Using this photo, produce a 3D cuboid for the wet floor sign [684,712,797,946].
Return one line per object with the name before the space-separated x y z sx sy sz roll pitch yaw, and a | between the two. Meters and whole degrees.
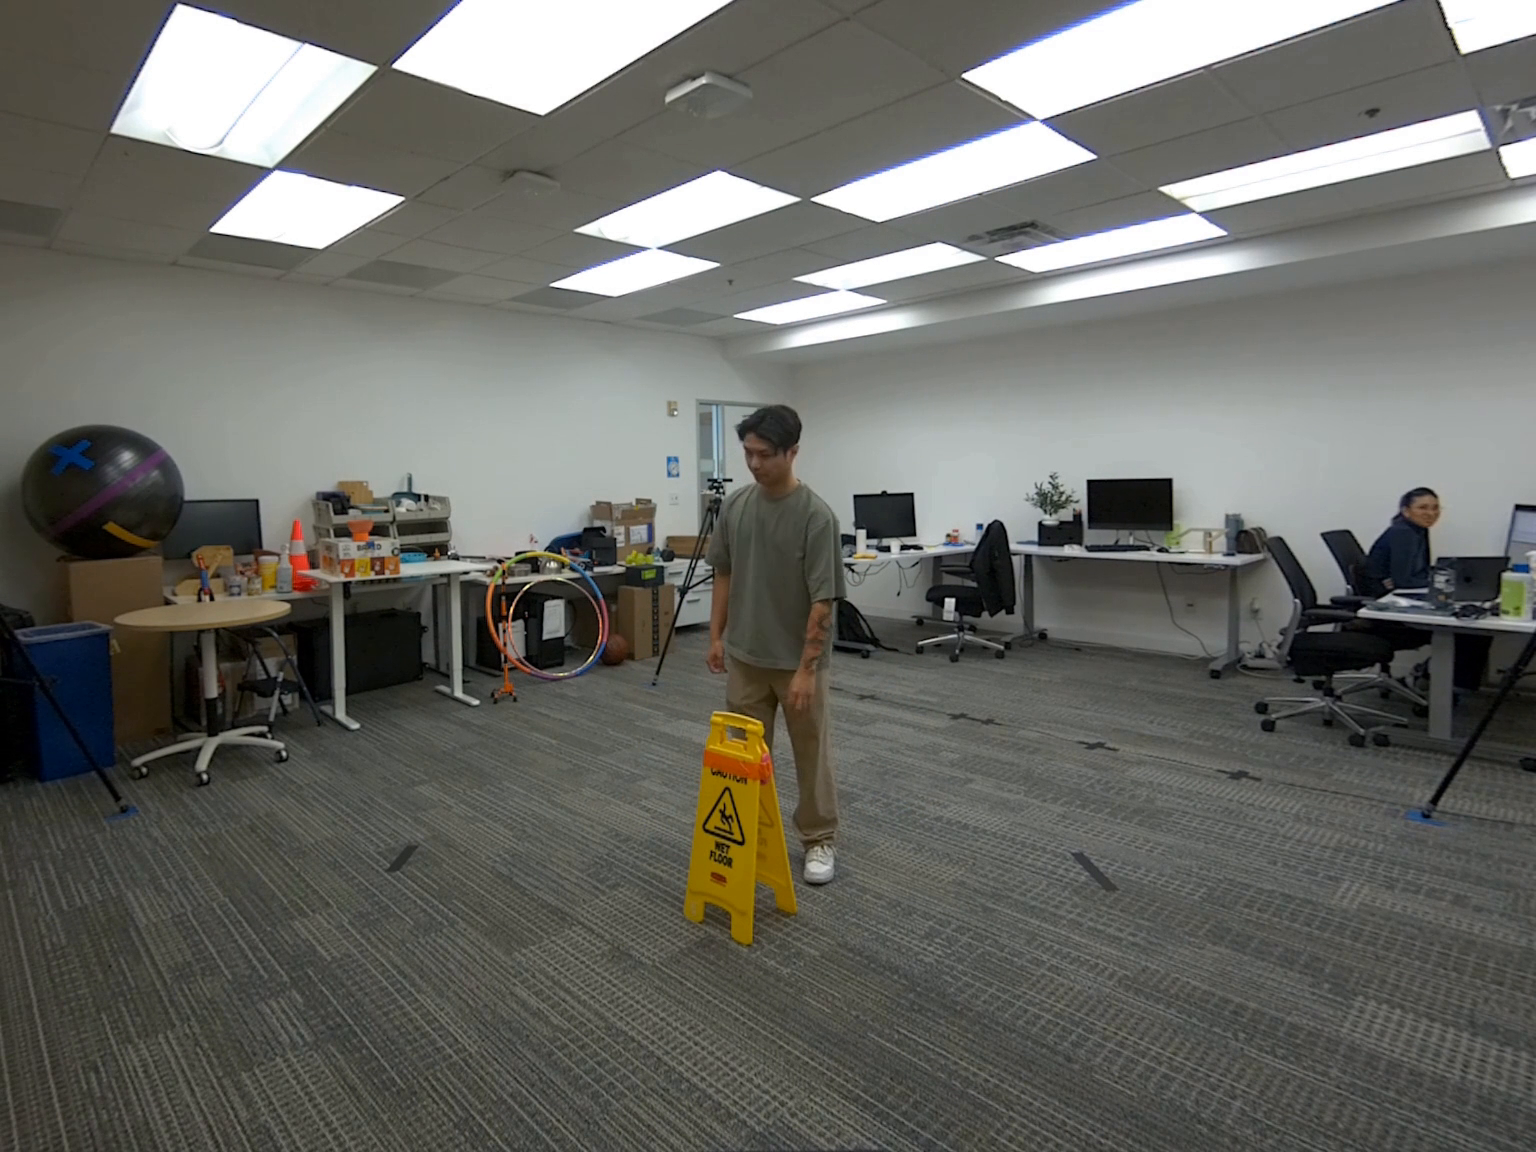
wet floor sign | -0.089 0.768 2.720 0.291 0.643 0.282 4 6 40
